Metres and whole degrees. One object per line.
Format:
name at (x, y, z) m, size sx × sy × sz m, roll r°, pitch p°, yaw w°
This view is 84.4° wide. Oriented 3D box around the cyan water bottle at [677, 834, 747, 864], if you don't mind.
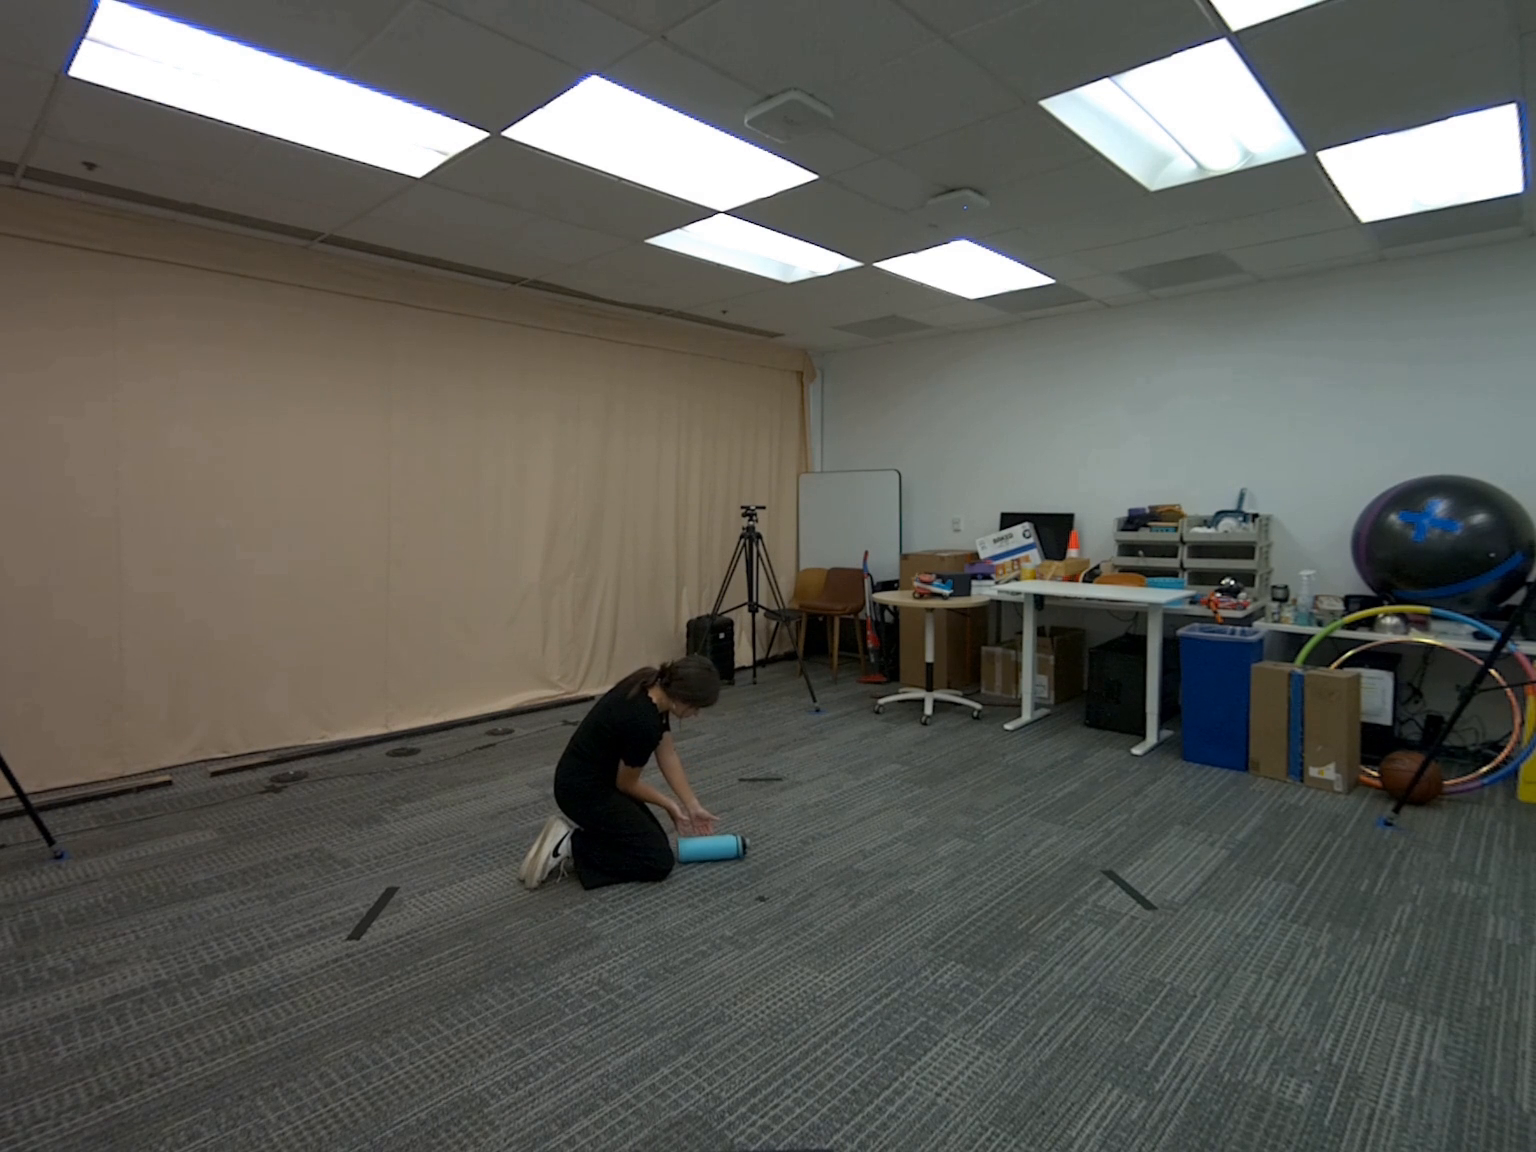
cyan water bottle at (-0.212, 1.072, 3.308) m, size 0.281 × 0.092 × 0.093 m, roll -2°, pitch 4°, yaw -6°
